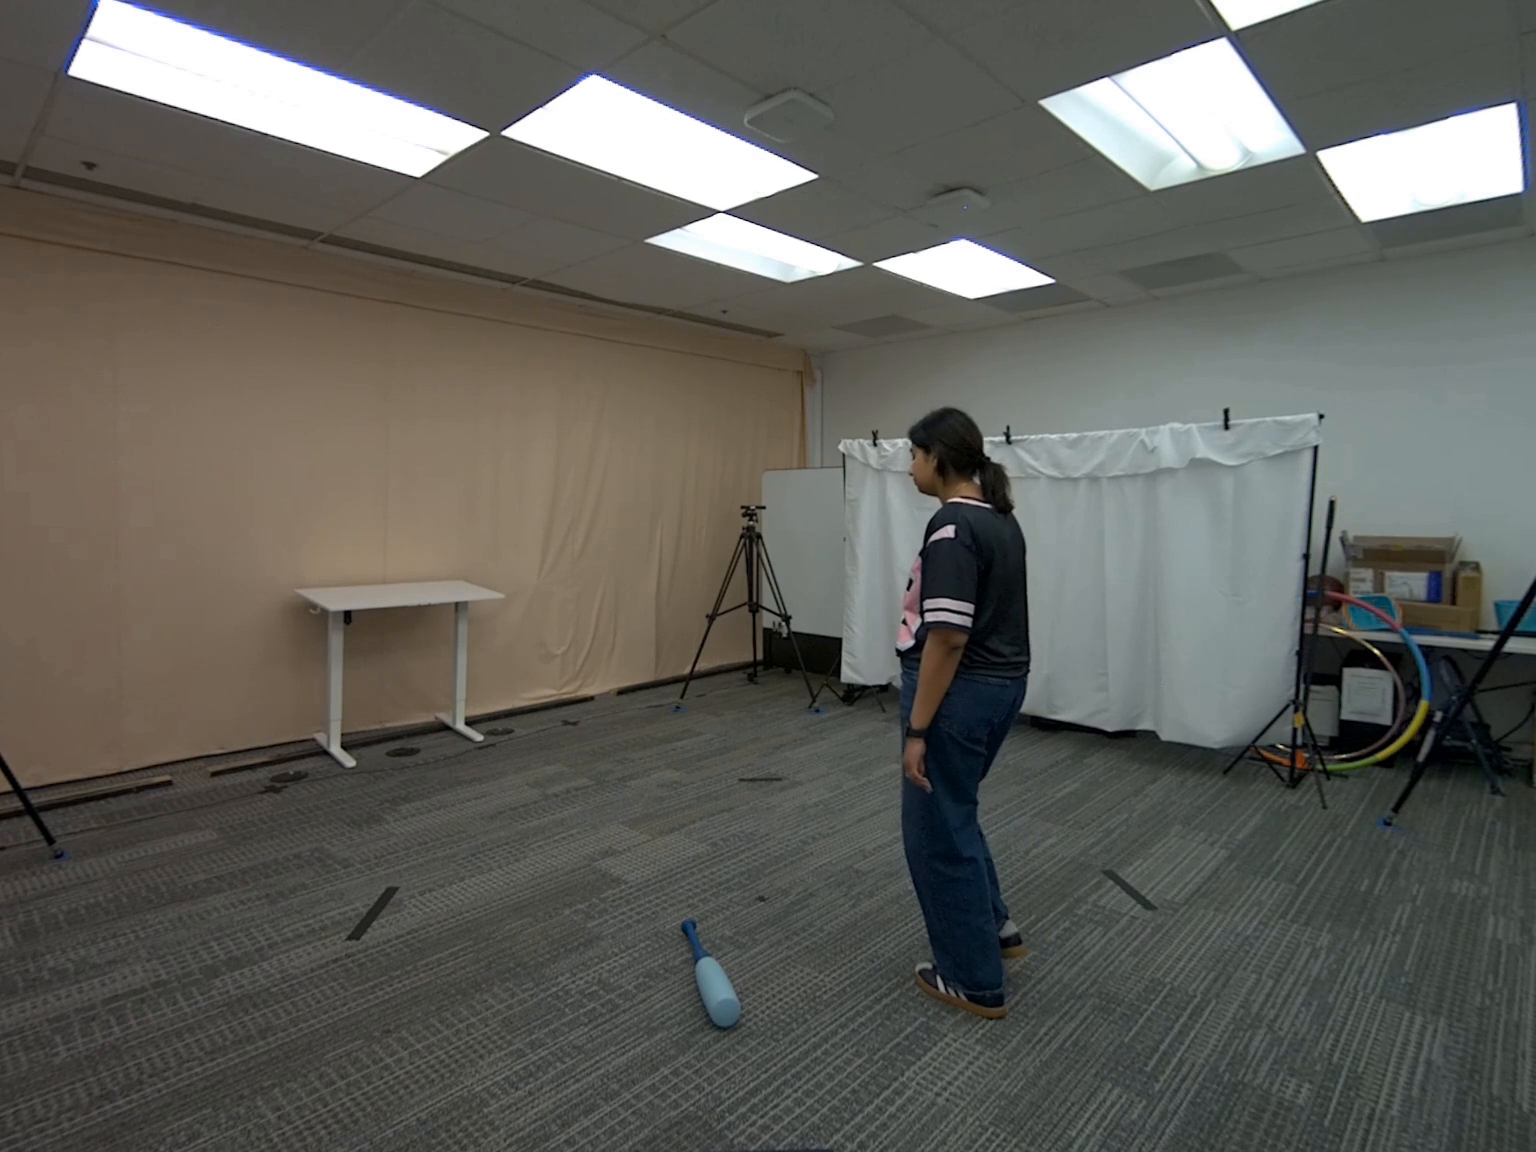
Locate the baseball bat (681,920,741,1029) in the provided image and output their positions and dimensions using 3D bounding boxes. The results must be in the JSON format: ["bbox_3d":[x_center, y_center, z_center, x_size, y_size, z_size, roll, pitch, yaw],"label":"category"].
[{"bbox_3d":[-0.183,1.154,2.480,0.088,0.089,0.551,-1,2,-16],"label":"baseball bat"}]
